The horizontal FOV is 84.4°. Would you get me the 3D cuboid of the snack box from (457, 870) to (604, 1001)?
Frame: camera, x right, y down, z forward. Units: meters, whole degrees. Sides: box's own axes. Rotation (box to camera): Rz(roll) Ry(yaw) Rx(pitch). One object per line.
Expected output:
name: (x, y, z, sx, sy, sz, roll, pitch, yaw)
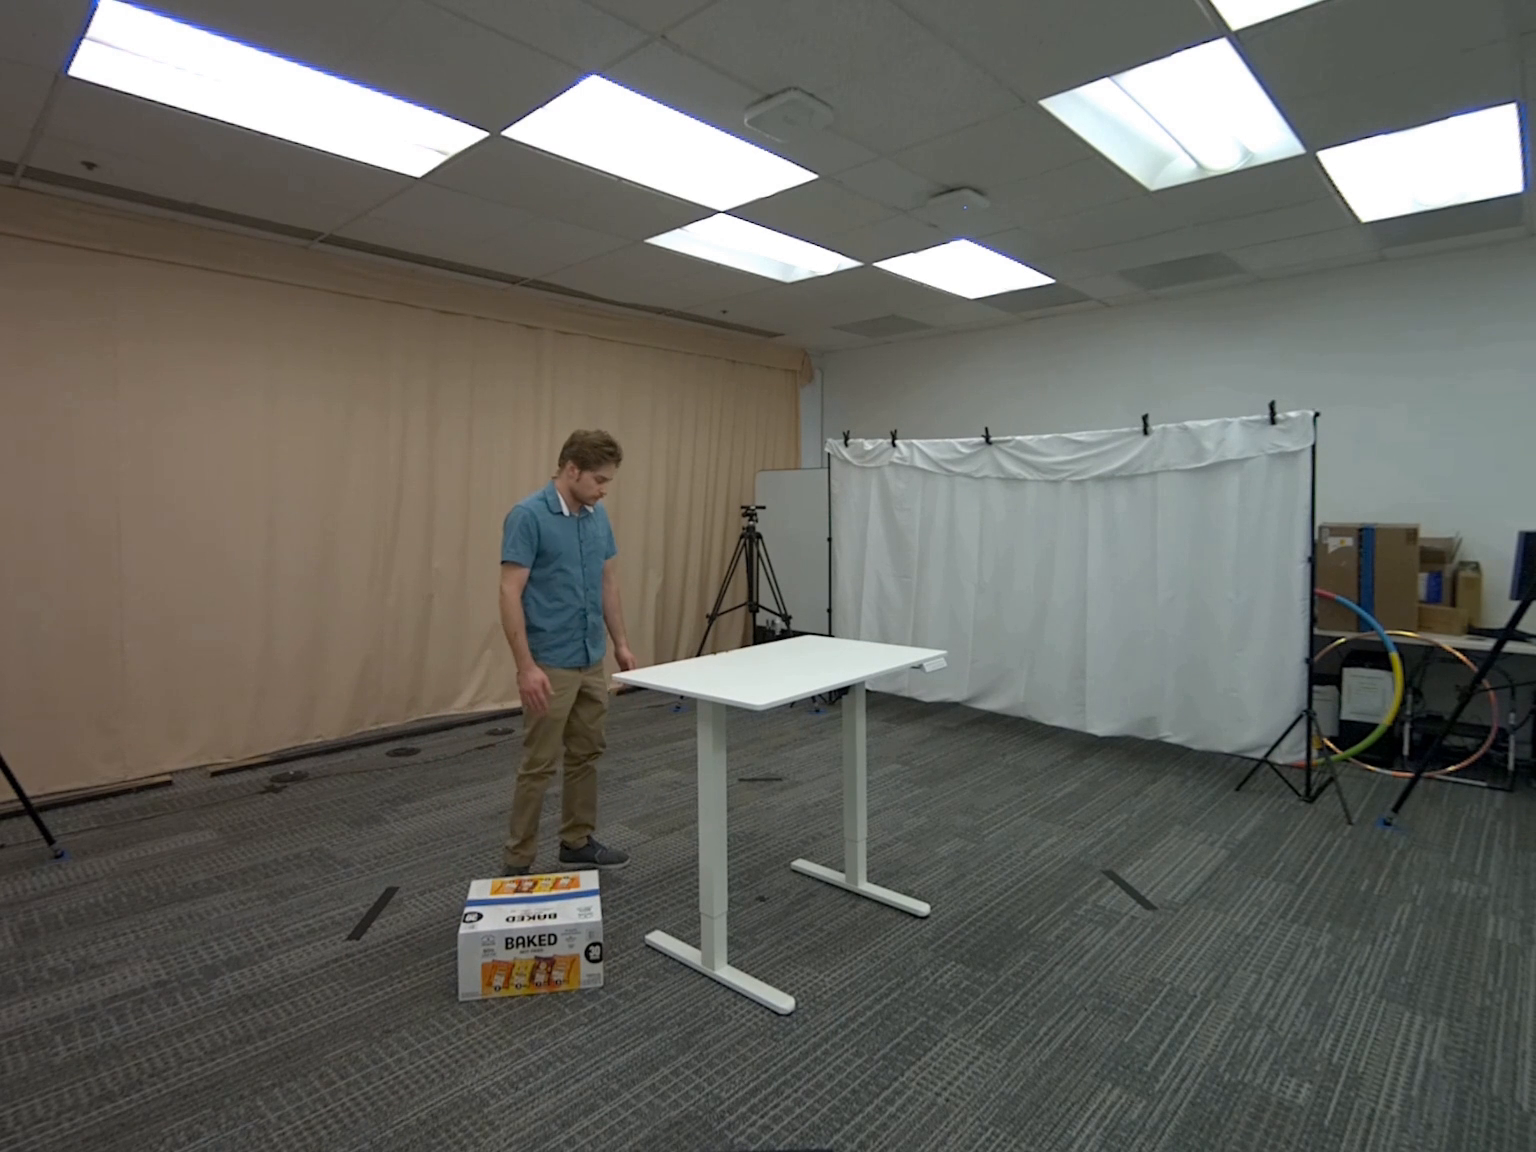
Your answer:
snack box: (-0.709, 1.085, 2.556, 0.400, 0.205, 0.345, -1, 4, -12)
